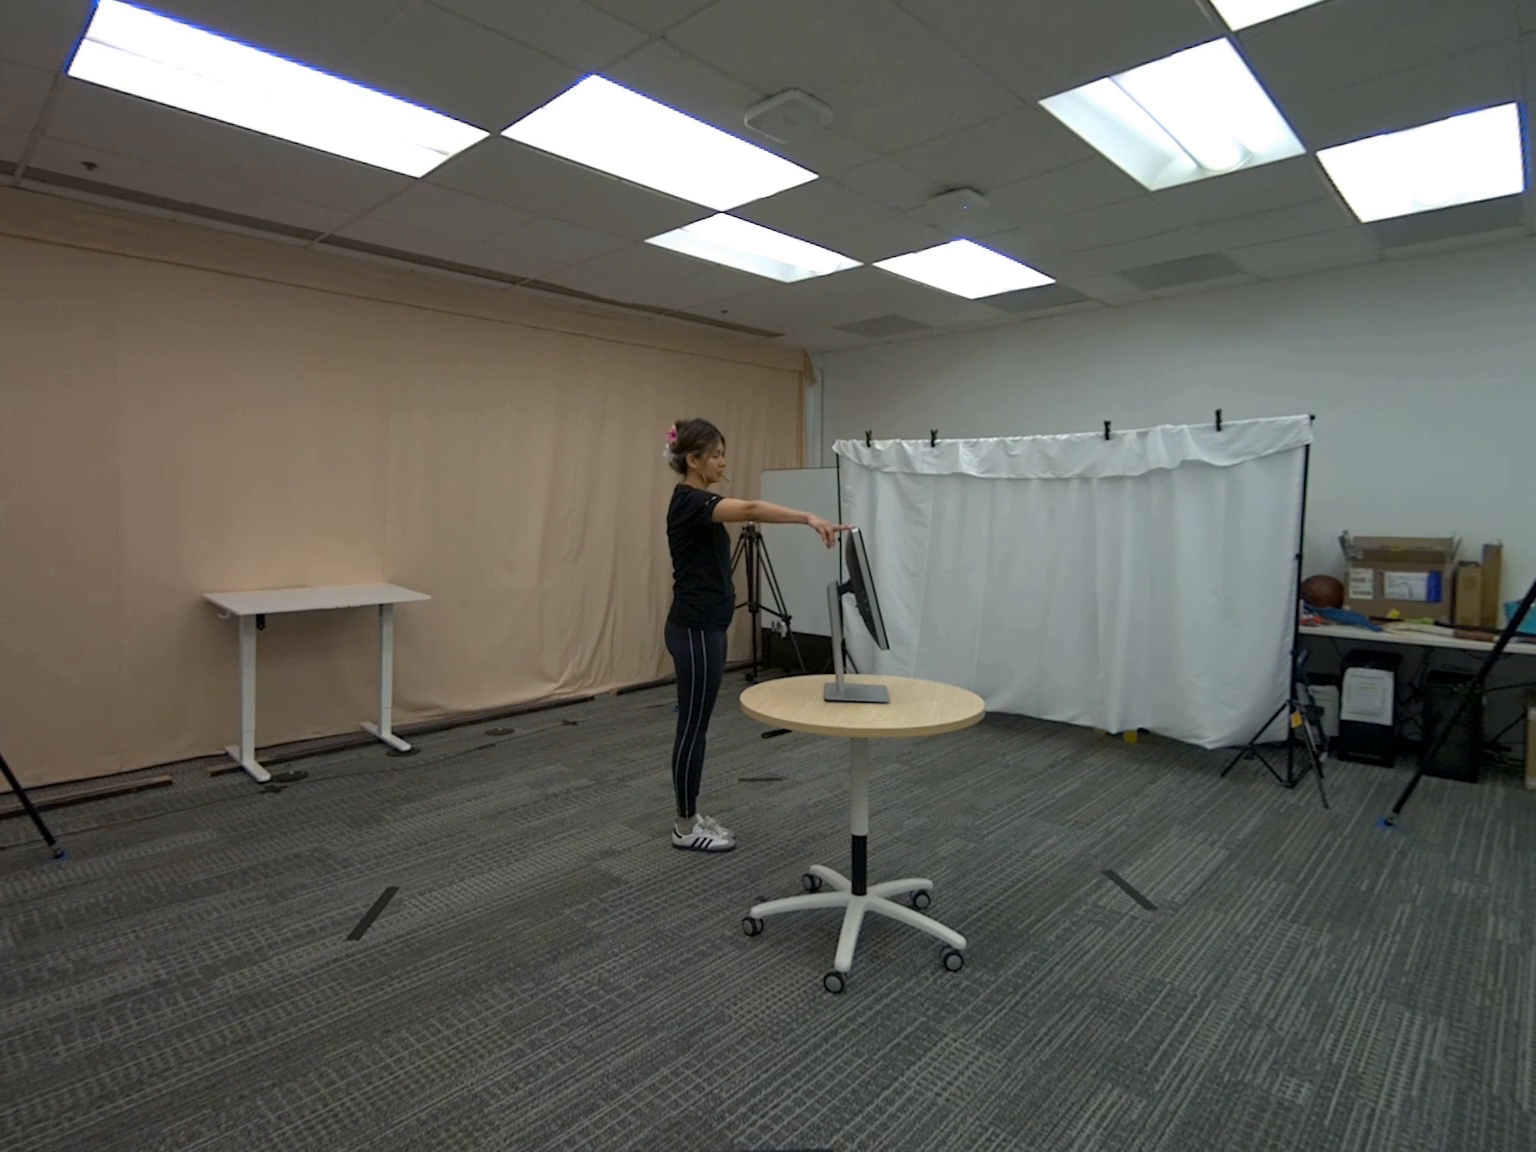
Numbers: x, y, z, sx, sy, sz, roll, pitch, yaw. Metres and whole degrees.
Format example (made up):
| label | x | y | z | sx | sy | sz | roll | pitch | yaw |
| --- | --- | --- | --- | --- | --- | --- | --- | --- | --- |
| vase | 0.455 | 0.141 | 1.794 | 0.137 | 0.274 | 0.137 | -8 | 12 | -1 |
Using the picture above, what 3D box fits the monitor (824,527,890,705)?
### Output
| label | x | y | z | sx | sy | sz | roll | pitch | yaw |
| --- | --- | --- | --- | --- | --- | --- | --- | --- | --- |
| monitor | 0.284 | 0.123 | 2.723 | 0.188 | 0.522 | 0.537 | 0 | 3 | 4 |
